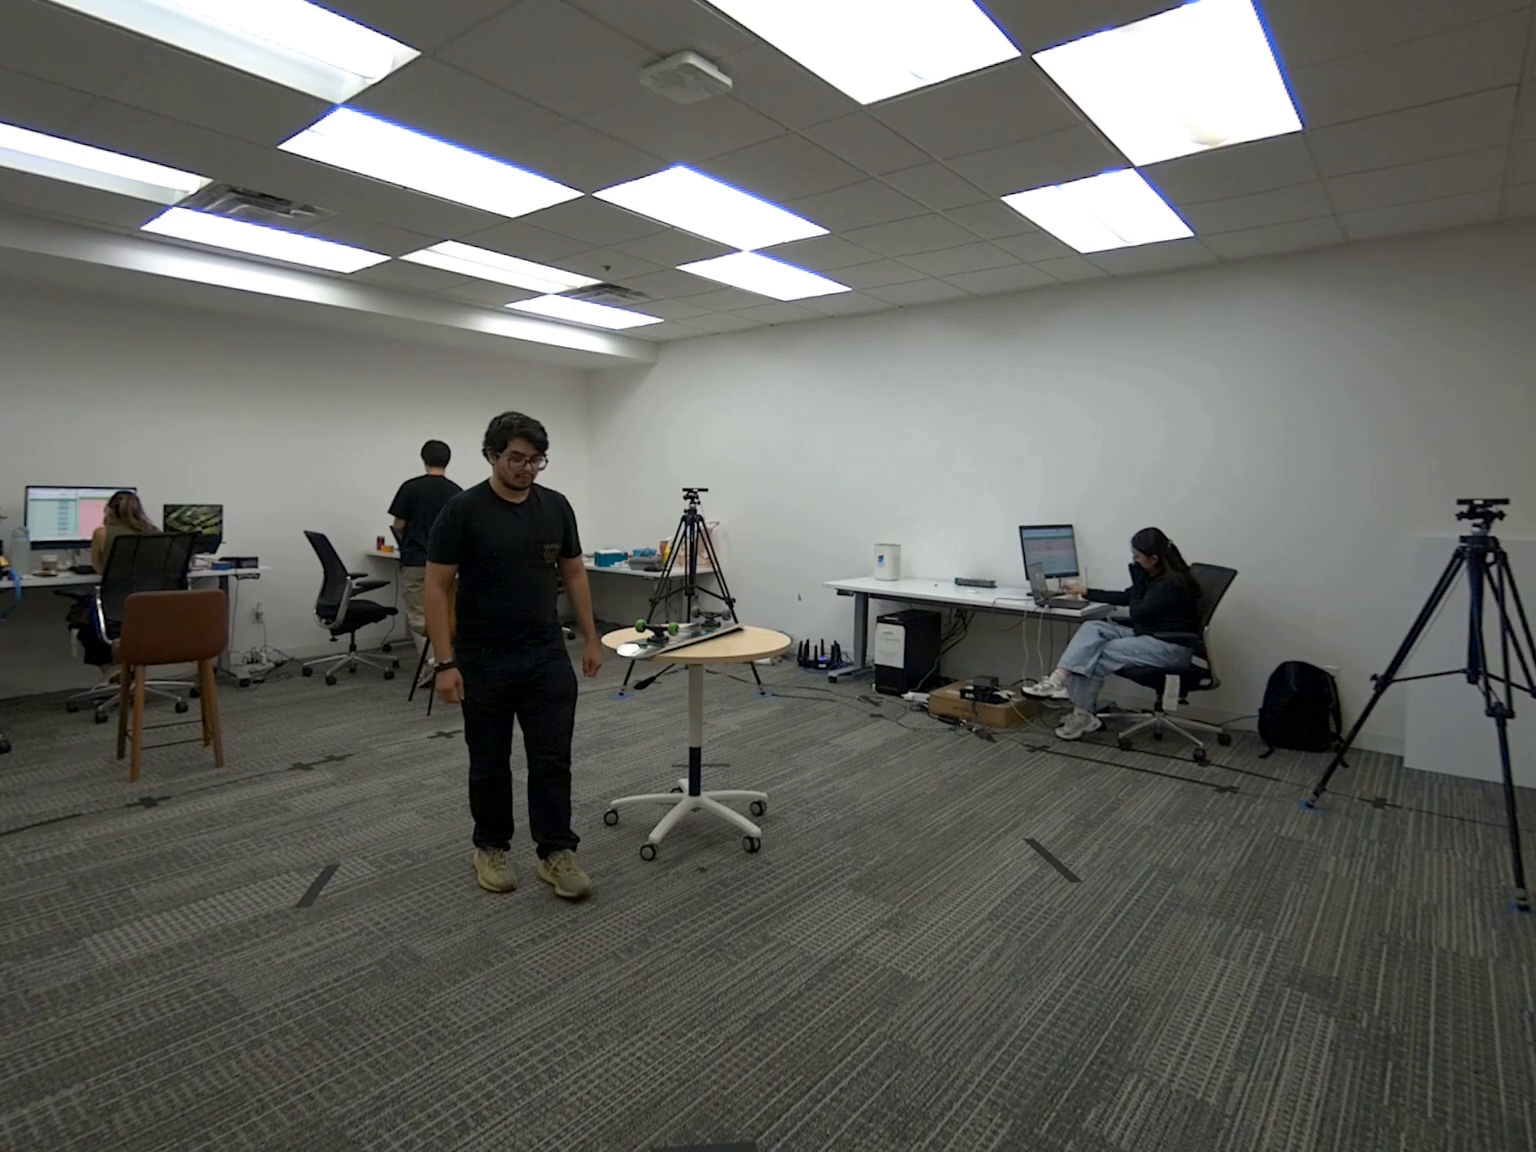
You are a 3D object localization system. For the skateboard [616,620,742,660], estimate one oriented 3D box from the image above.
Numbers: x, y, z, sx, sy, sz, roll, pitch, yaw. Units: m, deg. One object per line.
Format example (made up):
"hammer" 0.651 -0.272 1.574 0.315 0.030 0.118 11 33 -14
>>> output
"skateboard" -0.351 0.214 3.432 0.199 0.109 0.766 6 10 31
